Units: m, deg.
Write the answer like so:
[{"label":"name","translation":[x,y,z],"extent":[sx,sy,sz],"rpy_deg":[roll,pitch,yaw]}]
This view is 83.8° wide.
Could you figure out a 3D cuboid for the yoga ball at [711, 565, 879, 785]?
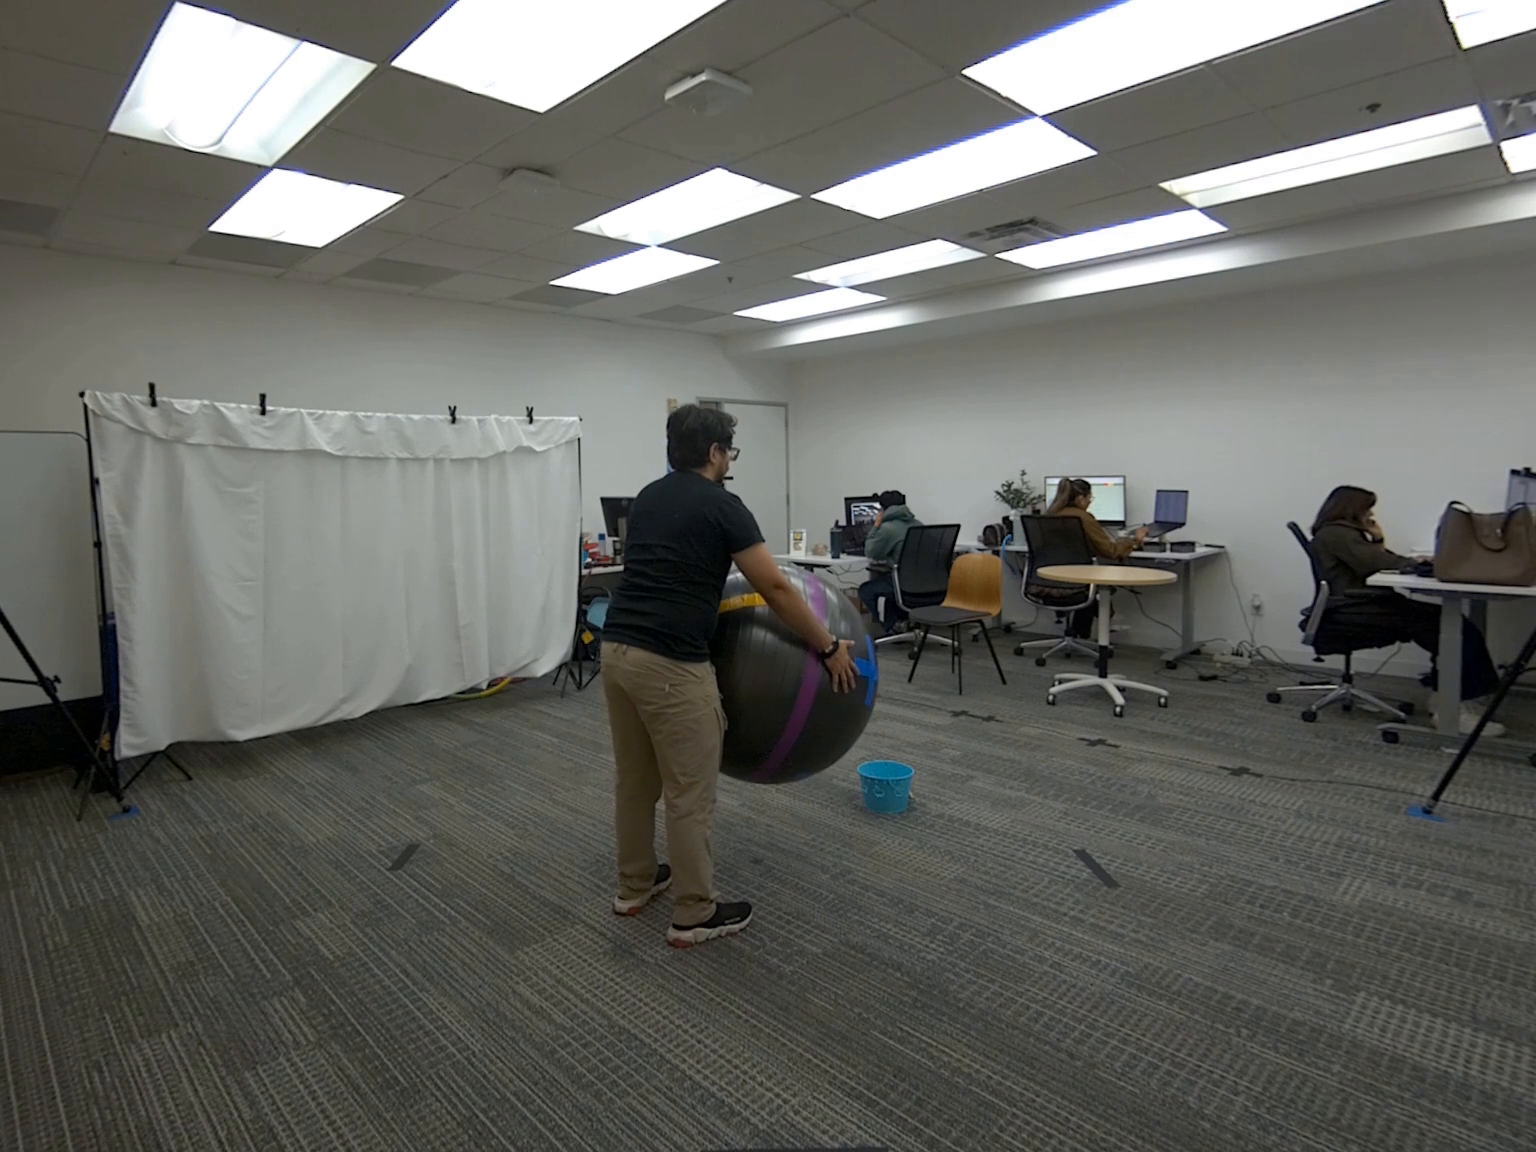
[{"label":"yoga ball","translation":[0.003,0.342,2.997],"extent":[0.757,0.755,0.762],"rpy_deg":[-1,5,-2]}]
